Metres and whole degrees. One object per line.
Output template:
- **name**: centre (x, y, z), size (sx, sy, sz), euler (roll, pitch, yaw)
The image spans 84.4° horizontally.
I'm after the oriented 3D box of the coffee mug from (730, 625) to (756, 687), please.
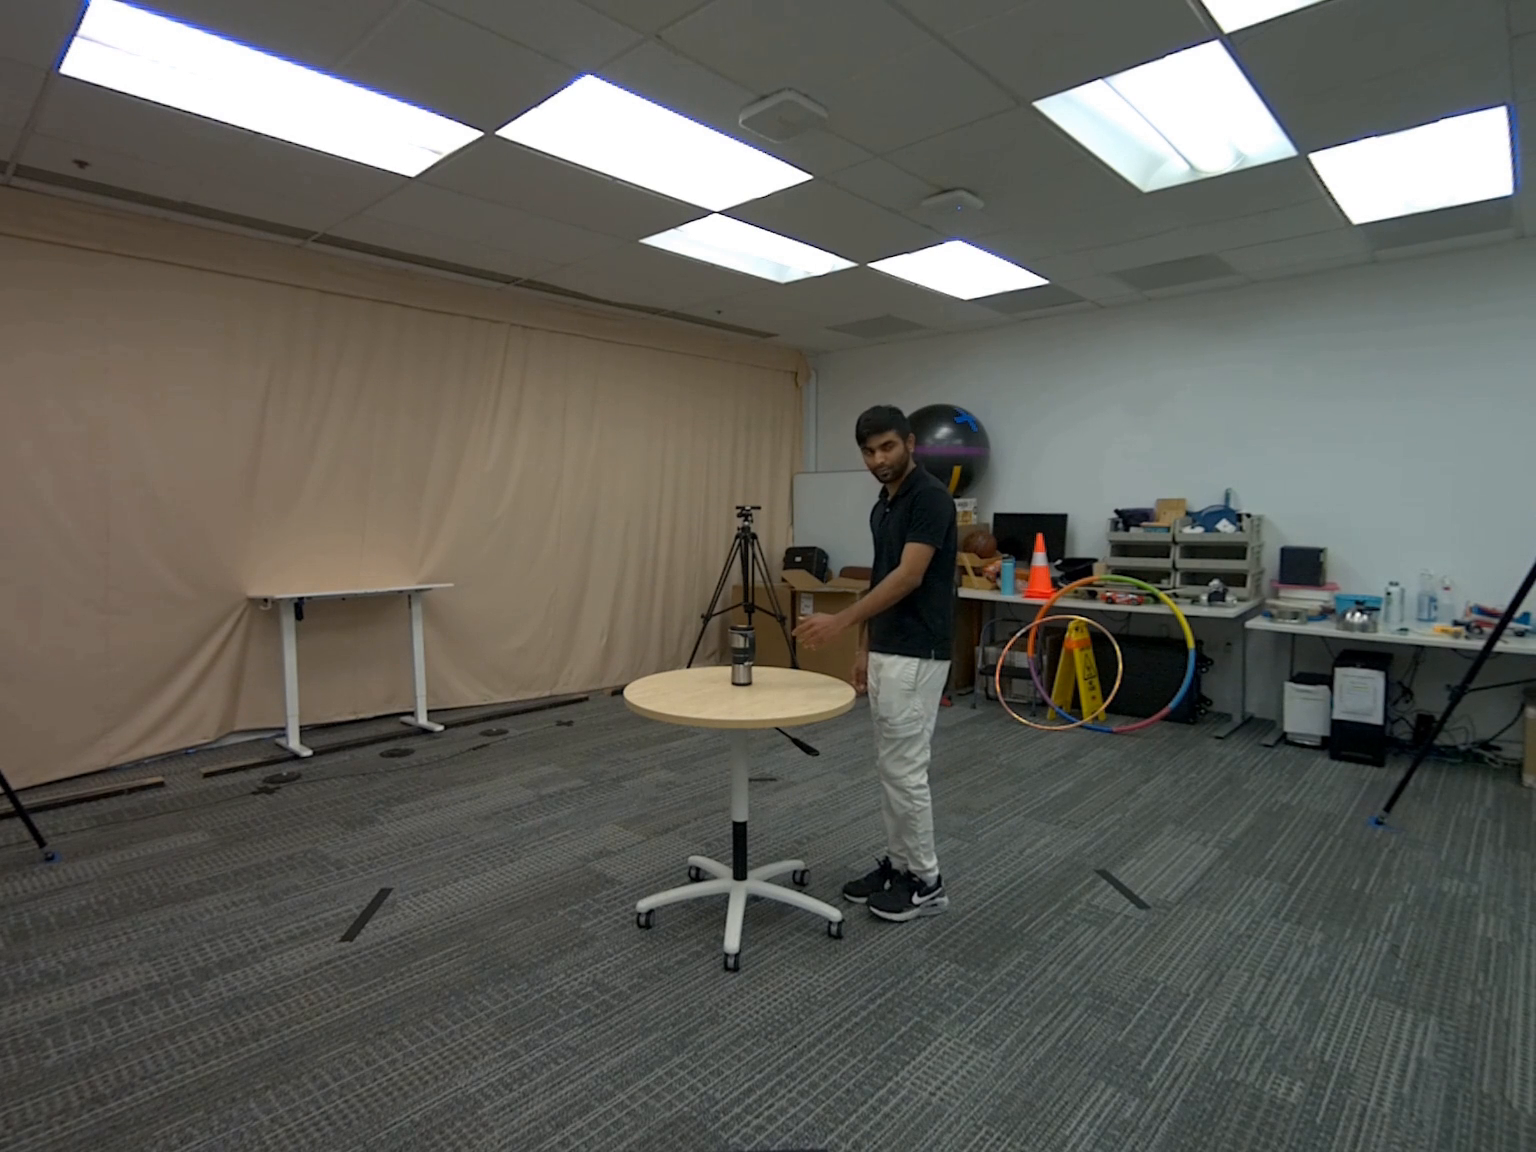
- **coffee mug**: centre (-0.100, 0.275, 2.860), size (0.119, 0.202, 0.090), euler (2, 9, -23)
